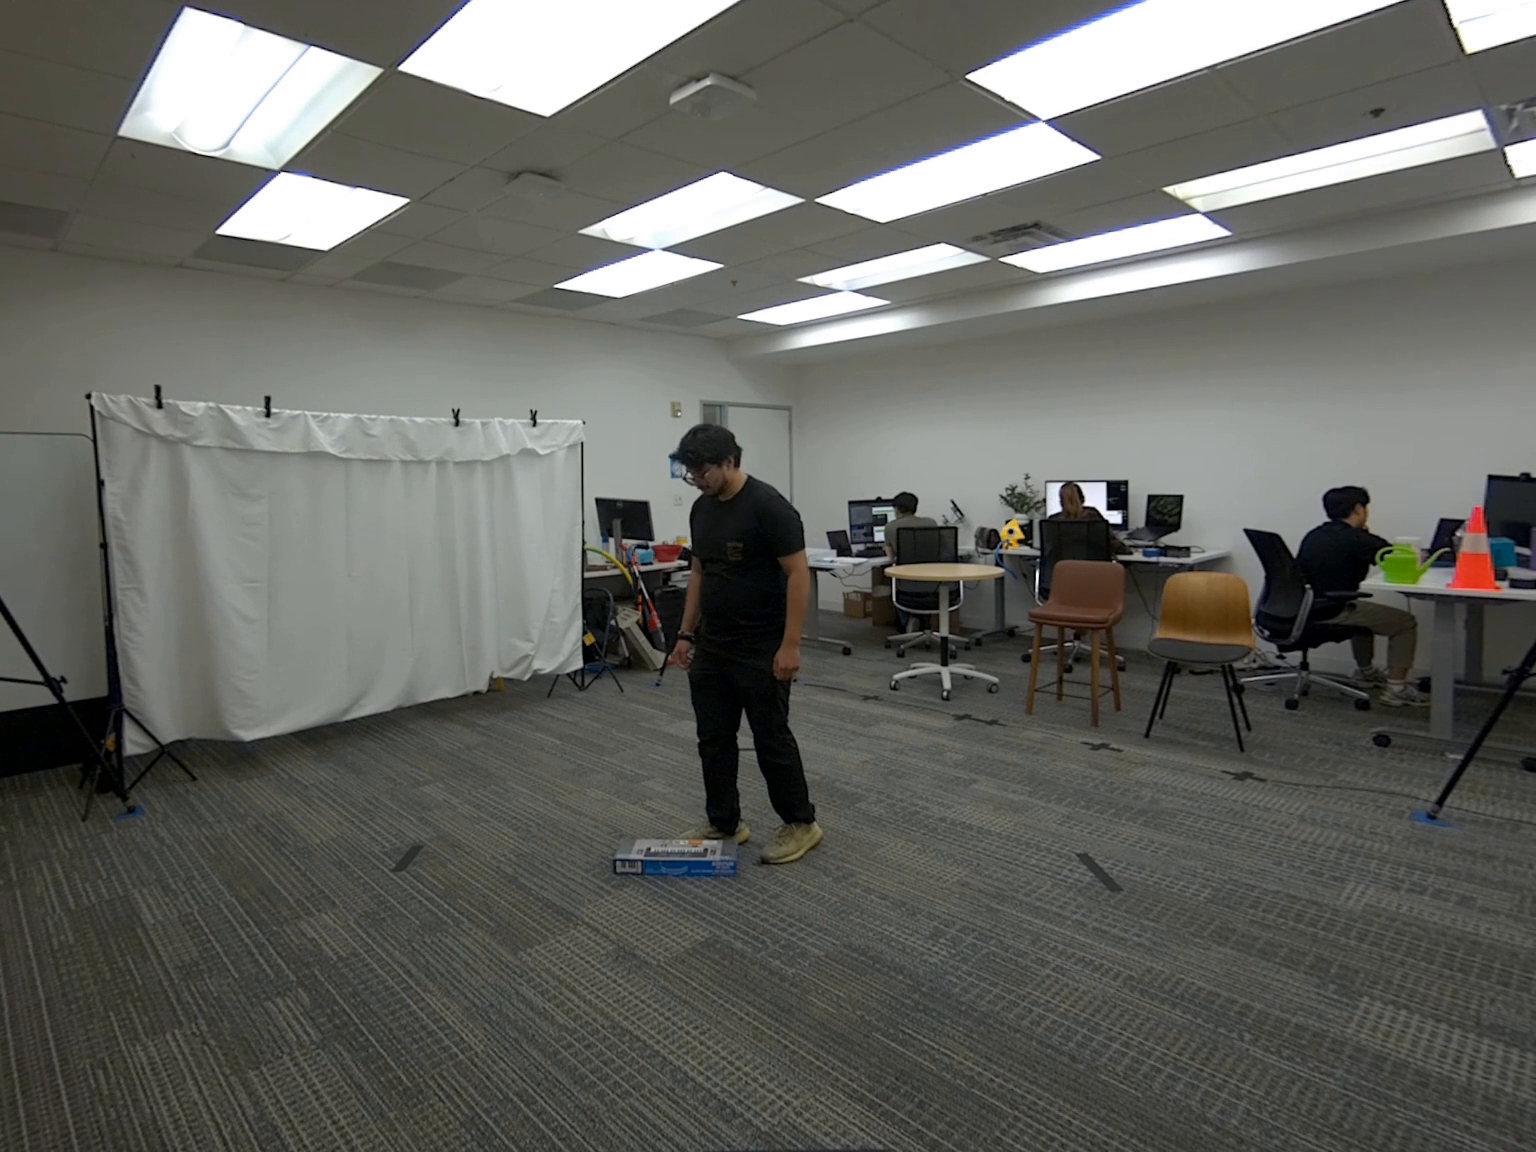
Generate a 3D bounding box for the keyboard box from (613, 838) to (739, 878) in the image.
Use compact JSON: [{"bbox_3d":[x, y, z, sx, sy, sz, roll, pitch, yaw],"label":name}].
[{"bbox_3d":[-0.327,1.023,3.106,0.438,0.059,0.176,0,6,4],"label":"keyboard box"}]
